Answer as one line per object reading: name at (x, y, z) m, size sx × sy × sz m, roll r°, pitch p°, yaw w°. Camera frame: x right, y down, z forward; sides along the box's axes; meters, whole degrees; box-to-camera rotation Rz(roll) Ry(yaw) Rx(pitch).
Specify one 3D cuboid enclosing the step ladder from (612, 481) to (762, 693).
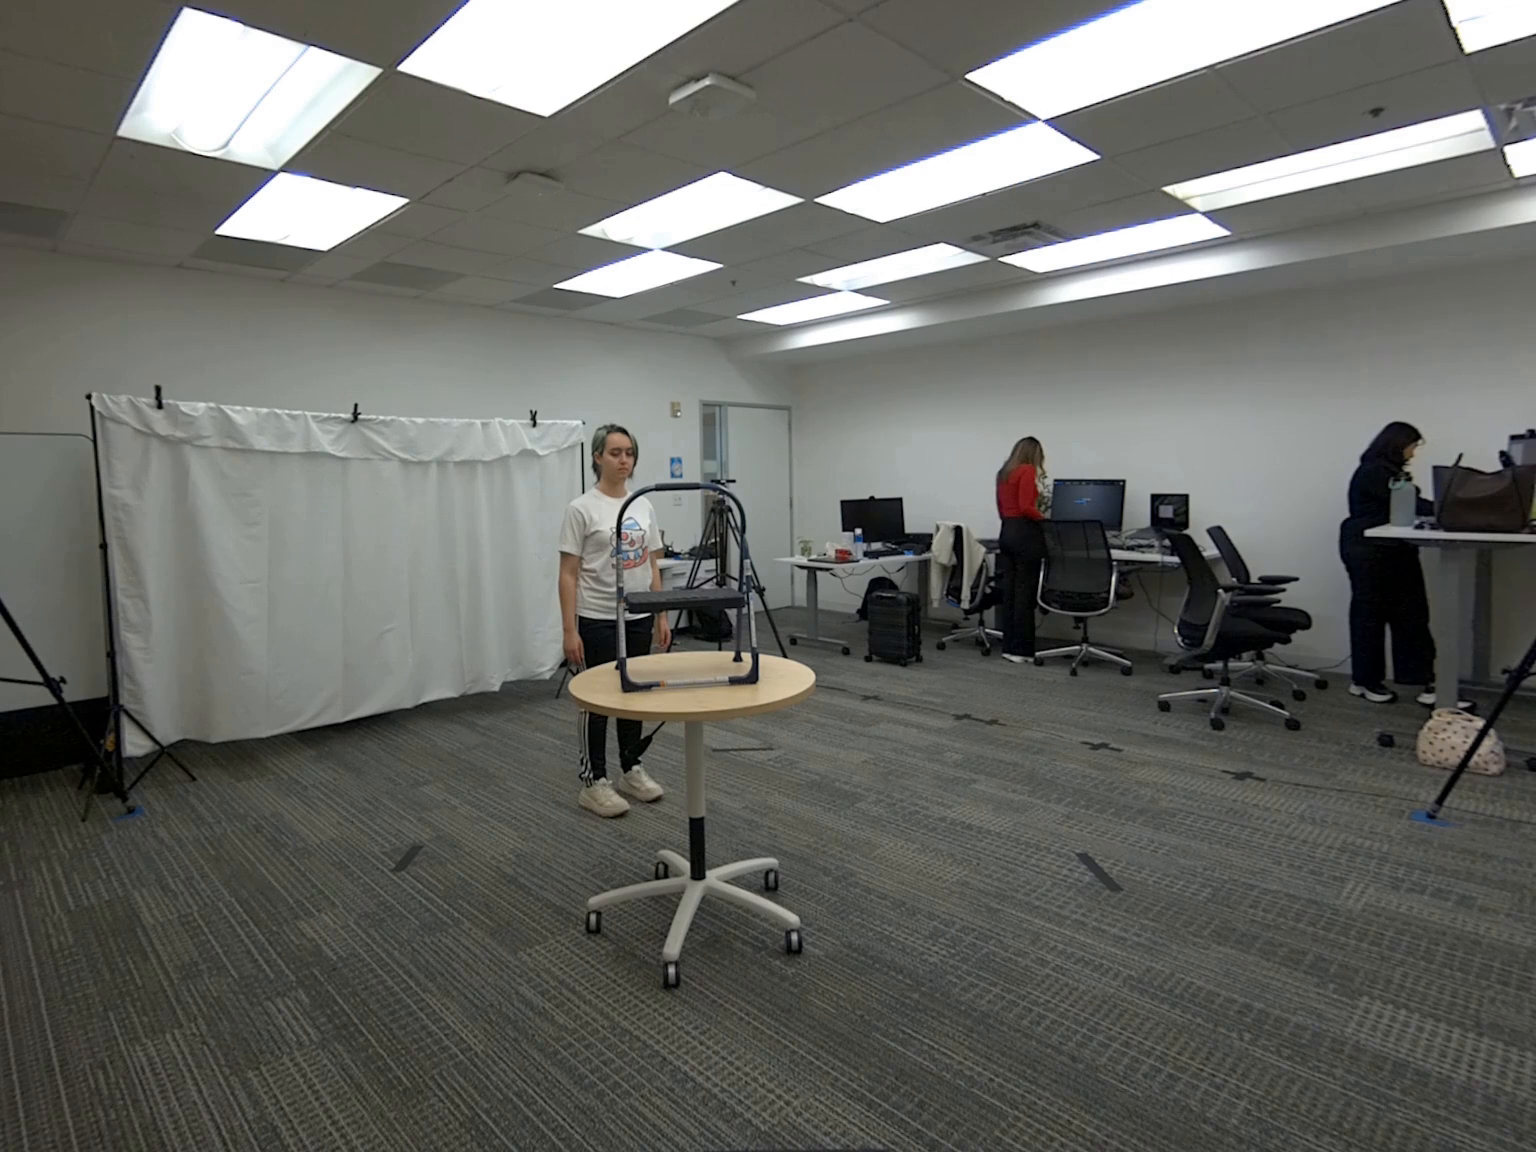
step ladder at (-0.268, 0.015, 2.671) m, size 0.426 × 0.603 × 0.354 m, roll -2°, pitch 5°, yaw -11°
